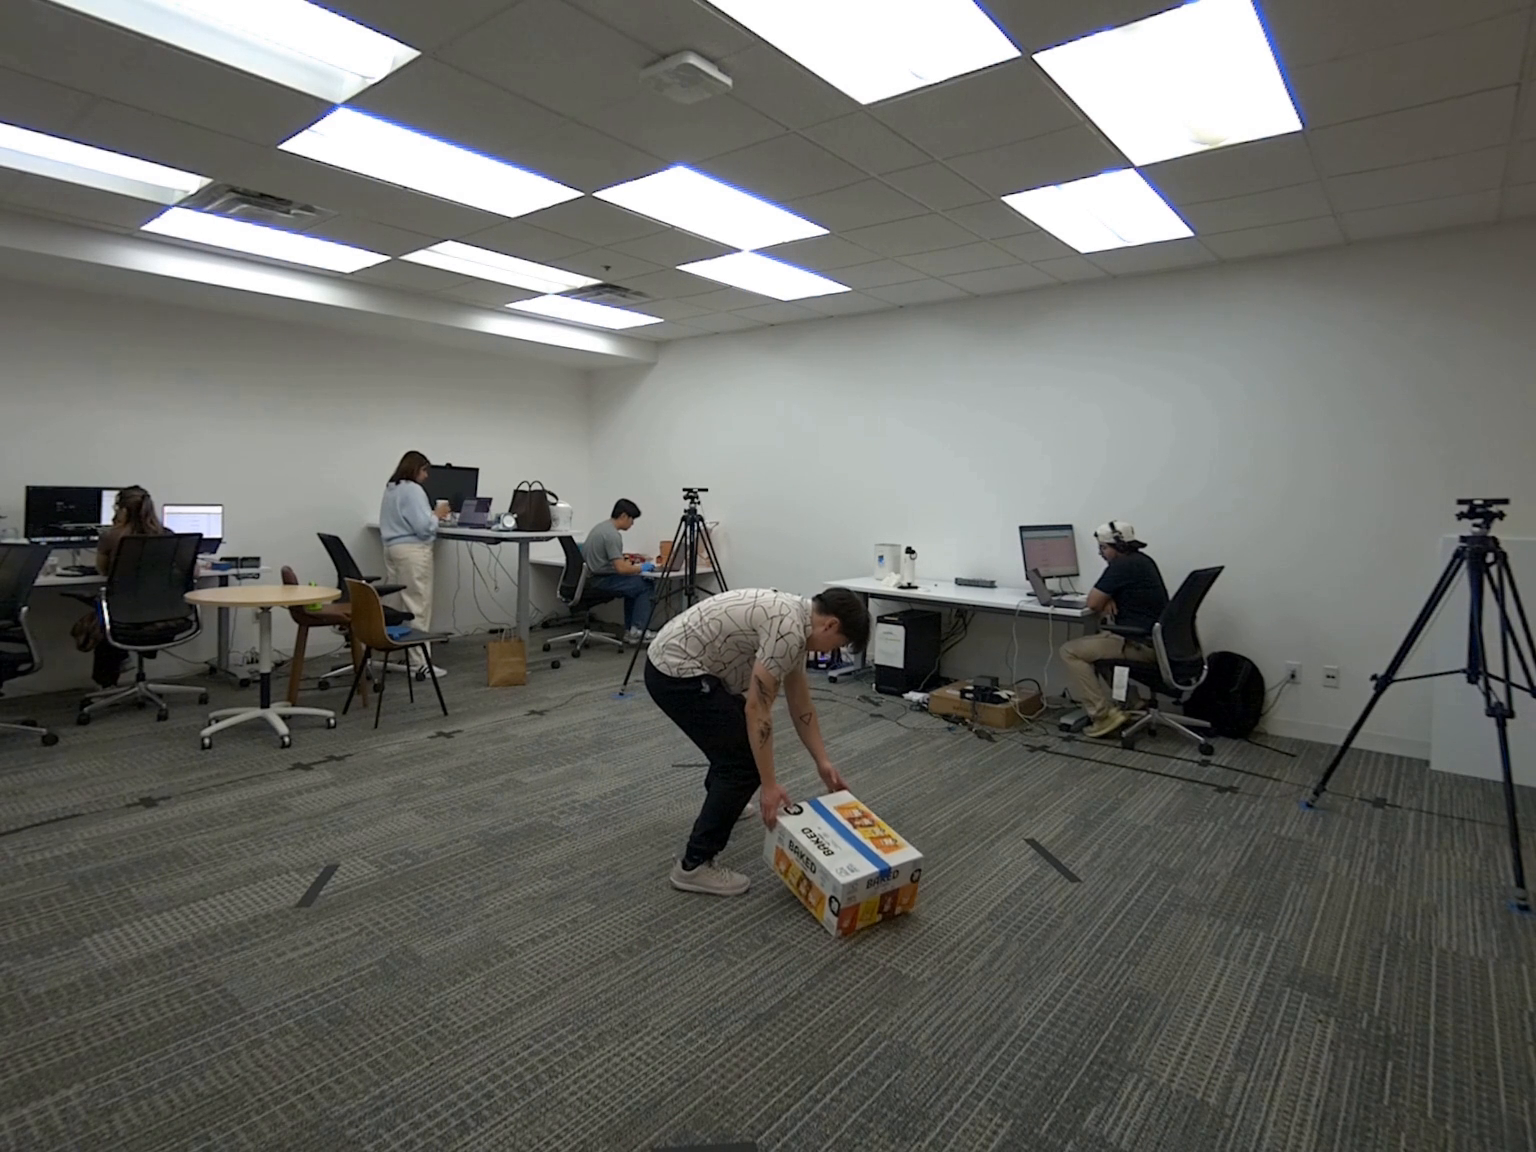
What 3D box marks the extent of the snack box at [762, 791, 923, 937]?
[{"bbox_3d":[0.235,0.949,2.868,0.331,0.203,0.422,-5,22,-33],"label":"snack box"}]
